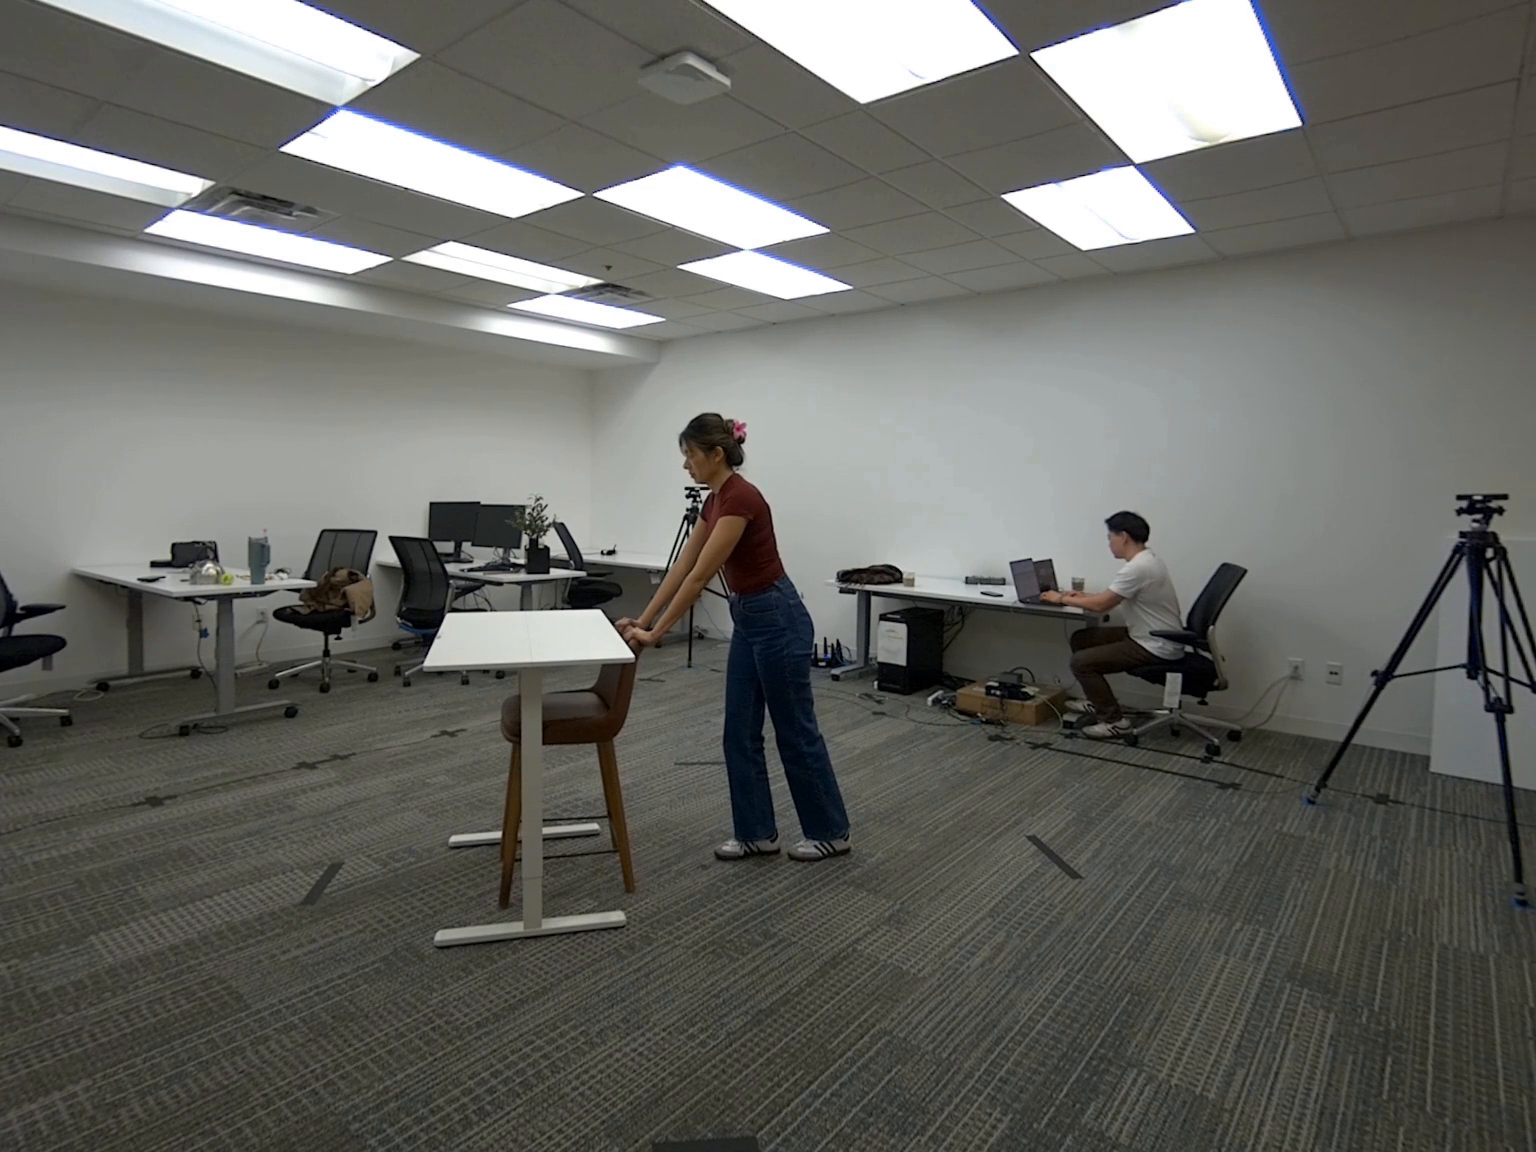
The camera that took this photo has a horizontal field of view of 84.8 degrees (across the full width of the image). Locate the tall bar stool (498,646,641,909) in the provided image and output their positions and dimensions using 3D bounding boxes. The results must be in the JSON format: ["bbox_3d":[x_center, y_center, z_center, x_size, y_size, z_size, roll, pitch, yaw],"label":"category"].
[{"bbox_3d":[-0.716,0.640,3.025,0.461,0.889,0.464,2,2,-15],"label":"tall bar stool"}]
